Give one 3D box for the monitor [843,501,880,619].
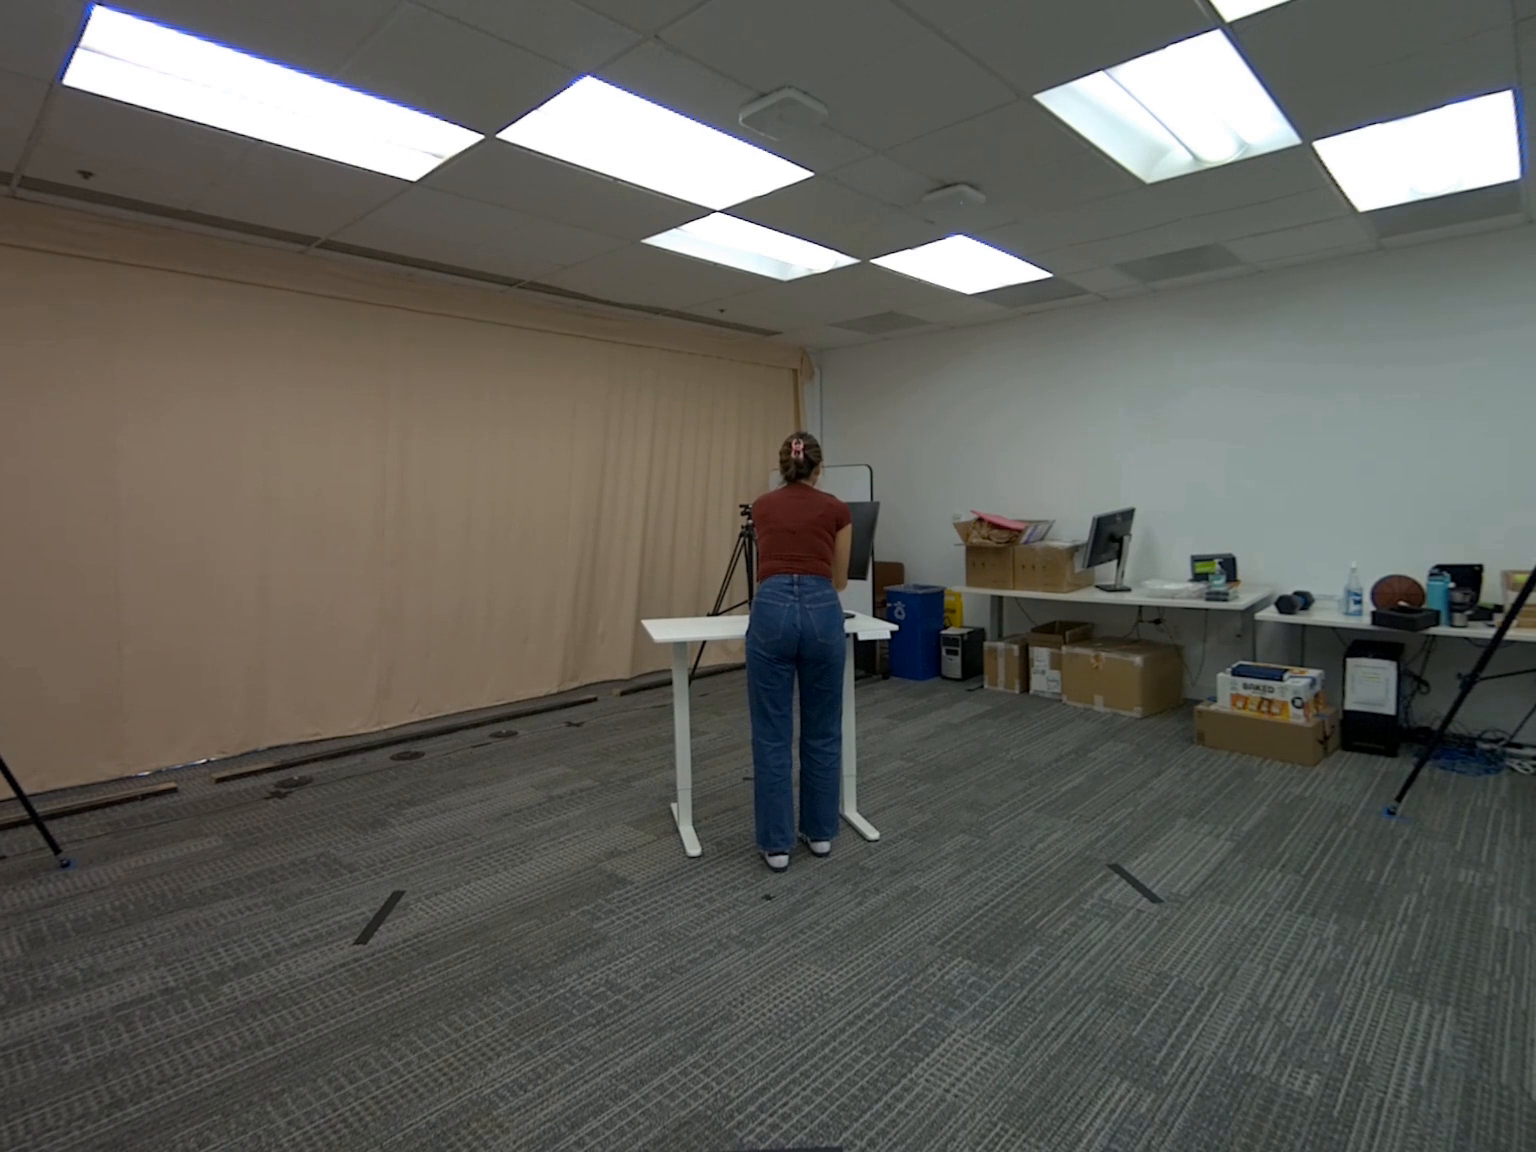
[{"bbox_3d":[0.263,-0.075,3.803,0.557,0.522,0.181,2,0,40],"label":"monitor"}]
